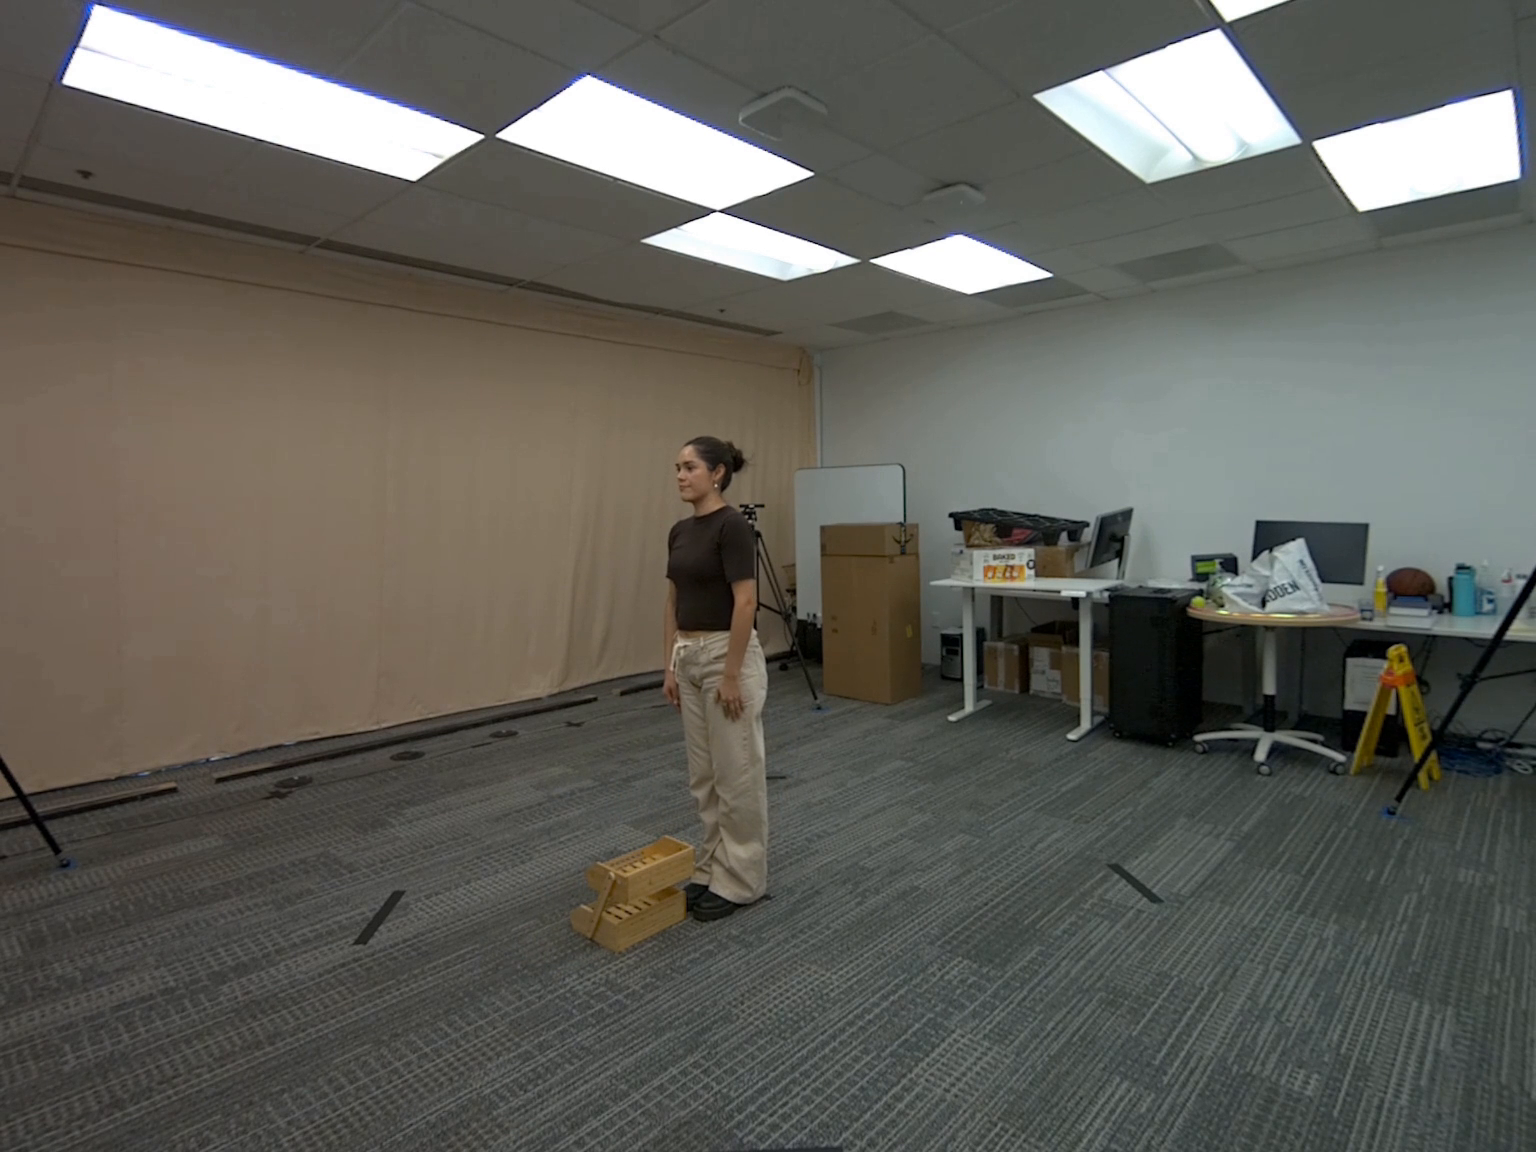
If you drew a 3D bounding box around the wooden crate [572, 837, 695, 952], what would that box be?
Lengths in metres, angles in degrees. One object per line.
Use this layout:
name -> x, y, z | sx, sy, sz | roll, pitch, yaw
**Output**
wooden crate -> -0.449, 1.029, 2.798 | 0.312, 0.272, 0.314 | 4, 6, 42
